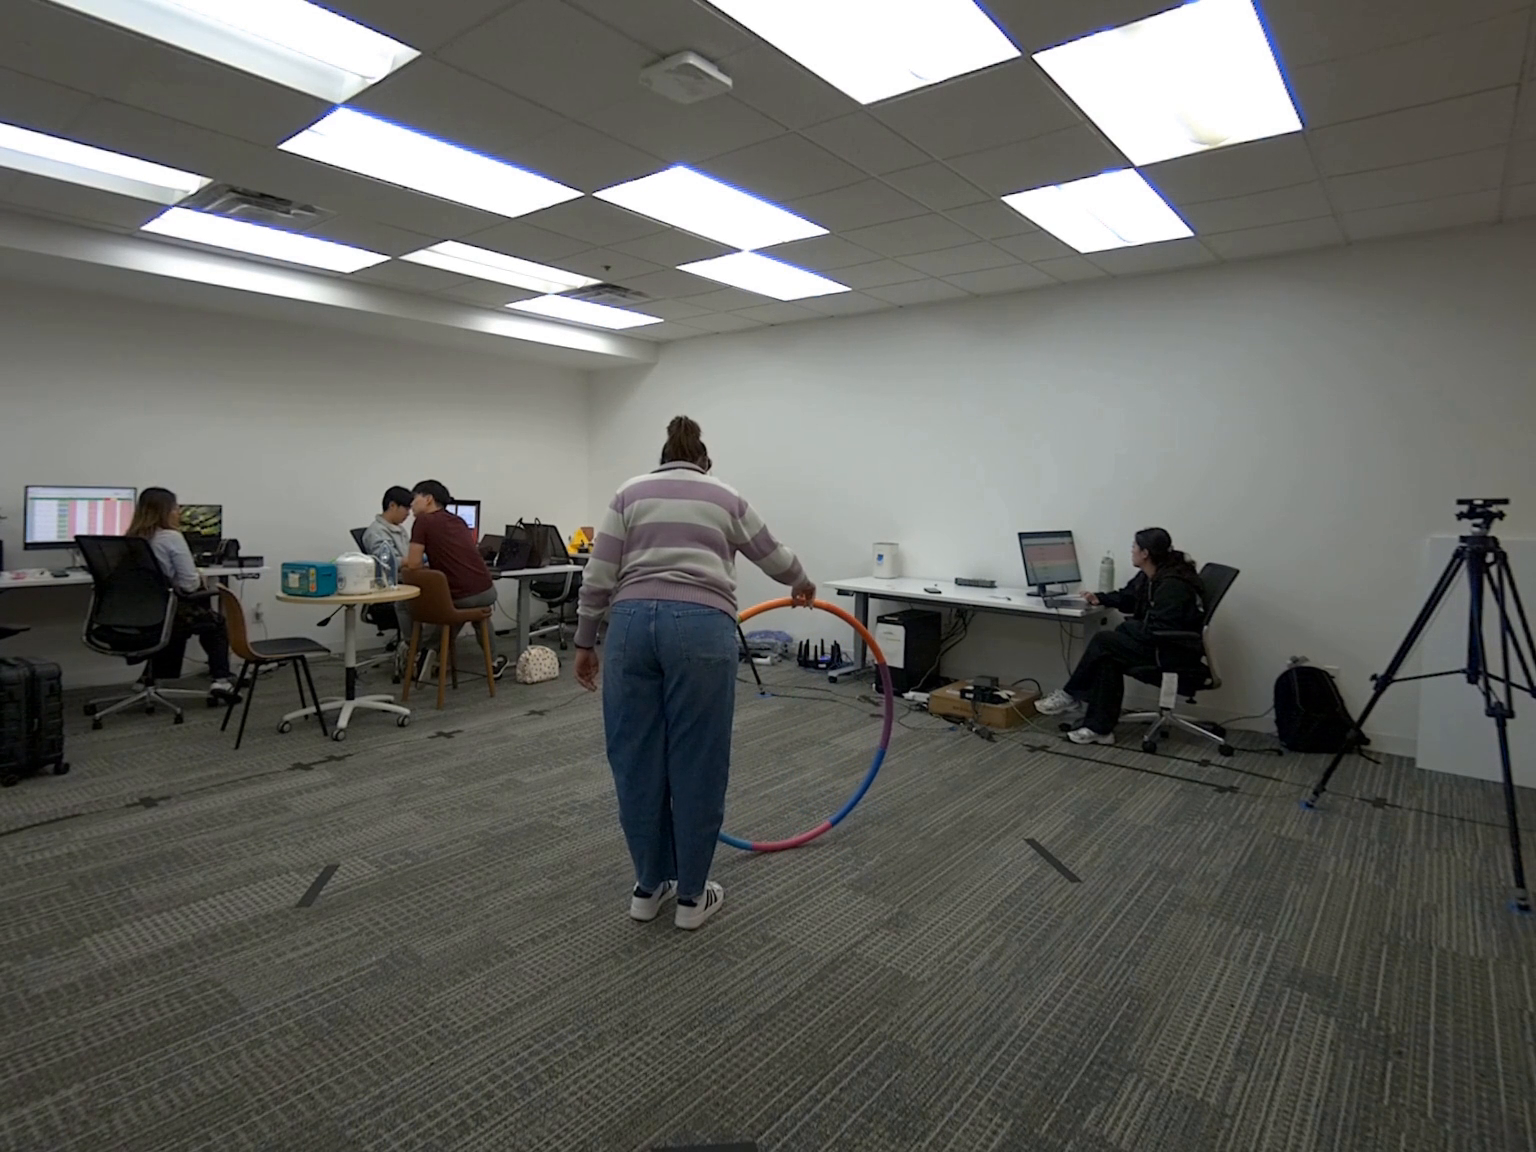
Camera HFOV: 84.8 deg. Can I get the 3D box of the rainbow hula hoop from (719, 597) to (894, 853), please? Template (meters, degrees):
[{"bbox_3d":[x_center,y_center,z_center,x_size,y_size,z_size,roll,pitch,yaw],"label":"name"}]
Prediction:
[{"bbox_3d":[0.064,0.570,3.265,0.955,0.974,0.036,-1,5,-25],"label":"rainbow hula hoop"}]
